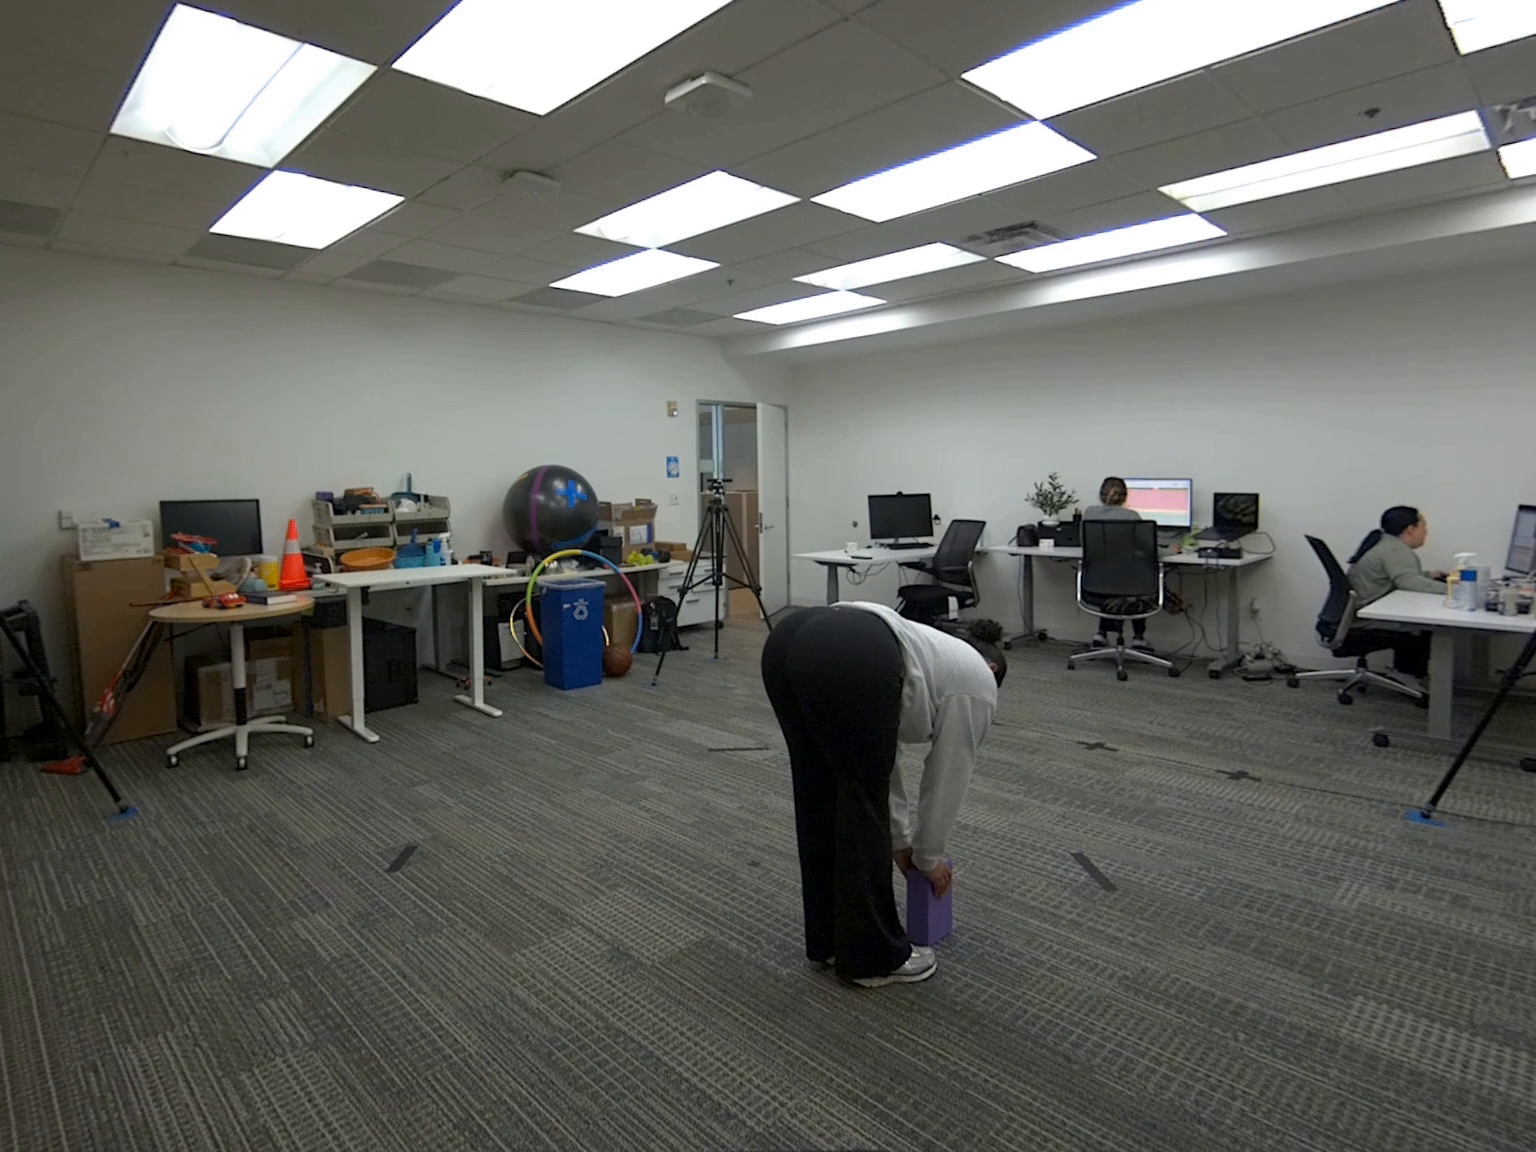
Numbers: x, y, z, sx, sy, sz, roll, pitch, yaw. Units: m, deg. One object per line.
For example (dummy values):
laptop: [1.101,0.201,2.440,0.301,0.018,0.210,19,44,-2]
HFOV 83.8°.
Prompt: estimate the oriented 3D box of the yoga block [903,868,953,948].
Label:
yoga block: [0.494,0.982,2.581,0.079,0.228,0.145,3,6,44]
